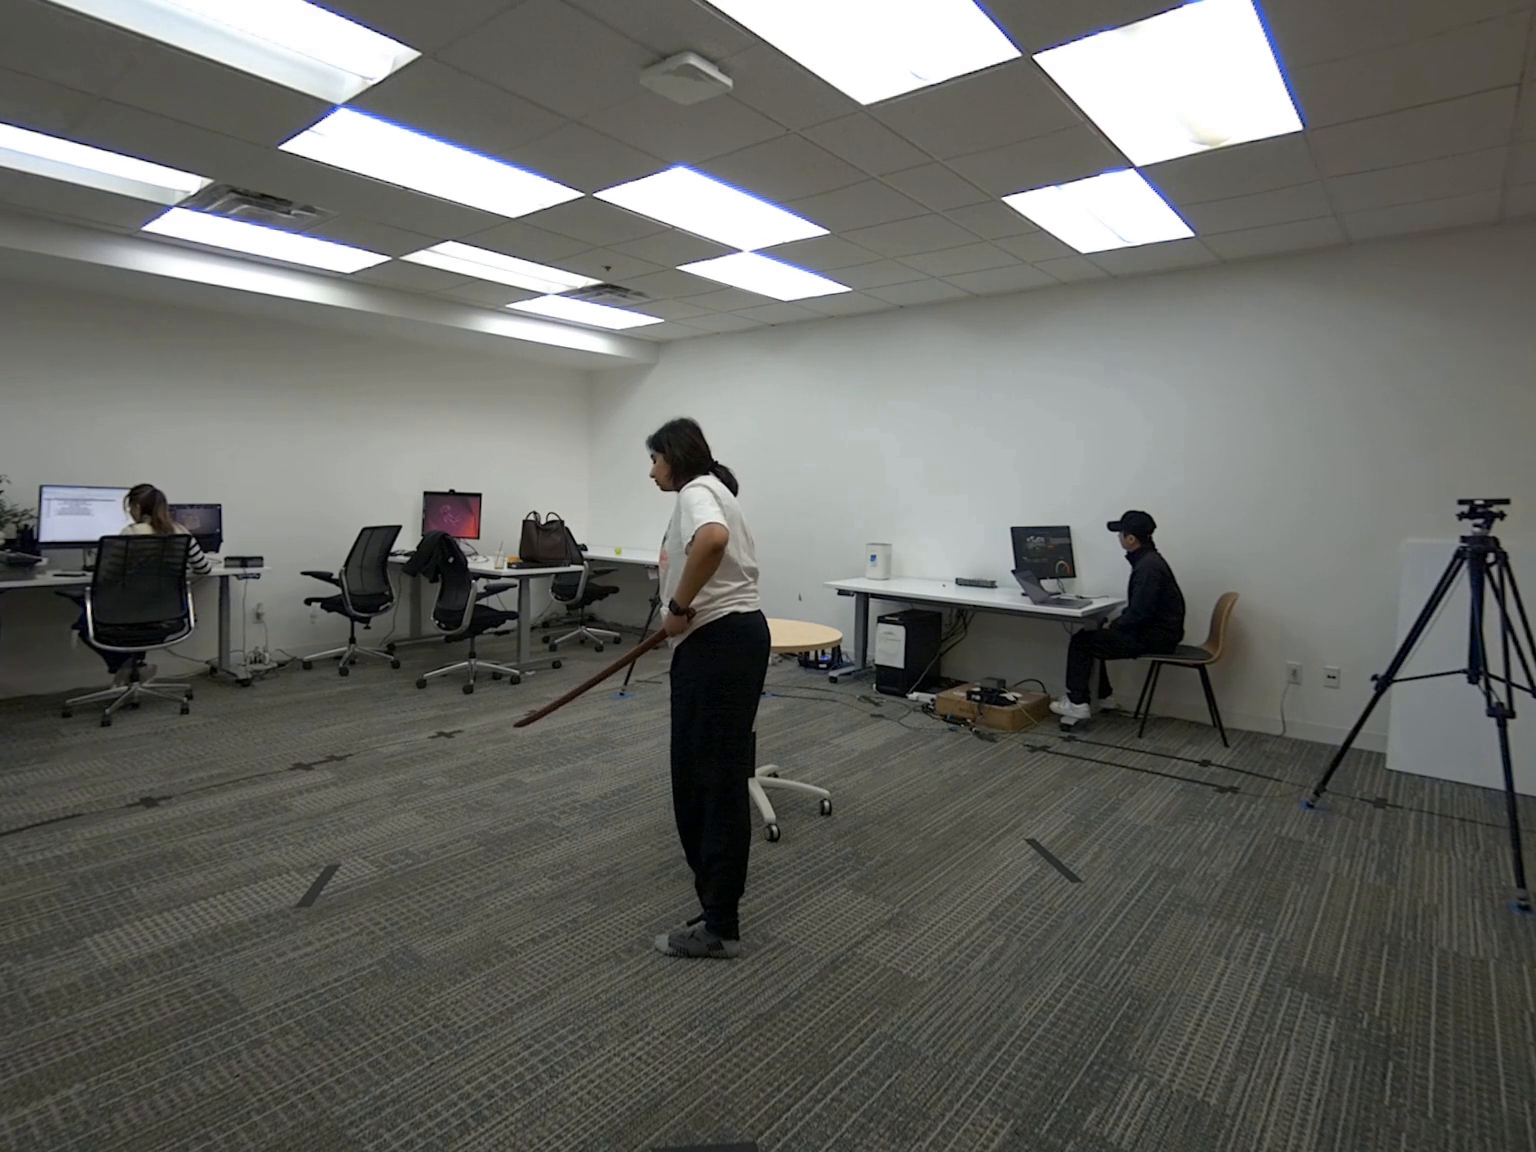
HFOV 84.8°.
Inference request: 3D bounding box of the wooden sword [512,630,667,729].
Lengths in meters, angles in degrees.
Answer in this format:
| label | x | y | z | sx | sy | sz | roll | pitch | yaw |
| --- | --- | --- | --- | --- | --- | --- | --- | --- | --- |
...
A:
| label | x | y | z | sx | sy | sz | roll | pitch | yaw |
| --- | --- | --- | --- | --- | --- | --- | --- | --- | --- |
| wooden sword | -0.635 | 0.349 | 2.878 | 1.035 | 0.052 | 0.023 | -32 | -17 | 38 |
